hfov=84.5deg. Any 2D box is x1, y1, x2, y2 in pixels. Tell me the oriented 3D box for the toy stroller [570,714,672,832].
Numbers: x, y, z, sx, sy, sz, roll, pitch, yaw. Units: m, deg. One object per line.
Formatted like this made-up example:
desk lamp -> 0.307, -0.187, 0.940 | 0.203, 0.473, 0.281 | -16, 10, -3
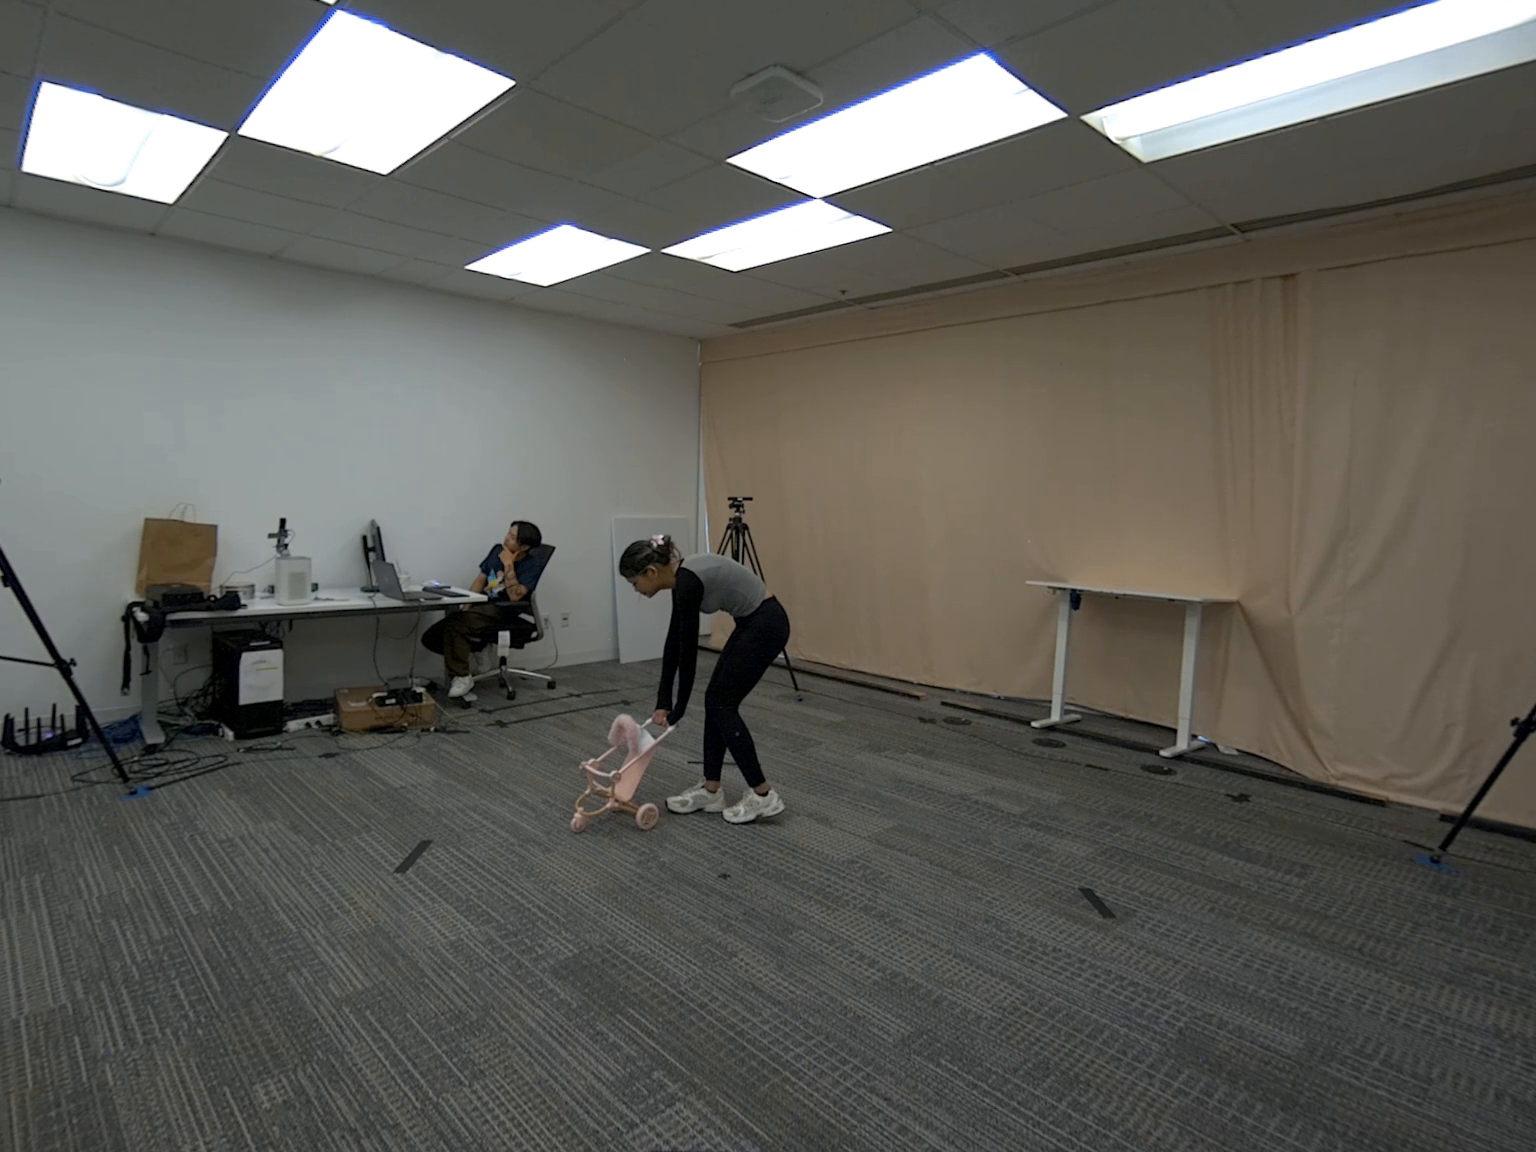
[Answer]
toy stroller -> -0.639, 0.830, 3.579 | 0.332, 0.537, 0.288 | 19, -7, -34
